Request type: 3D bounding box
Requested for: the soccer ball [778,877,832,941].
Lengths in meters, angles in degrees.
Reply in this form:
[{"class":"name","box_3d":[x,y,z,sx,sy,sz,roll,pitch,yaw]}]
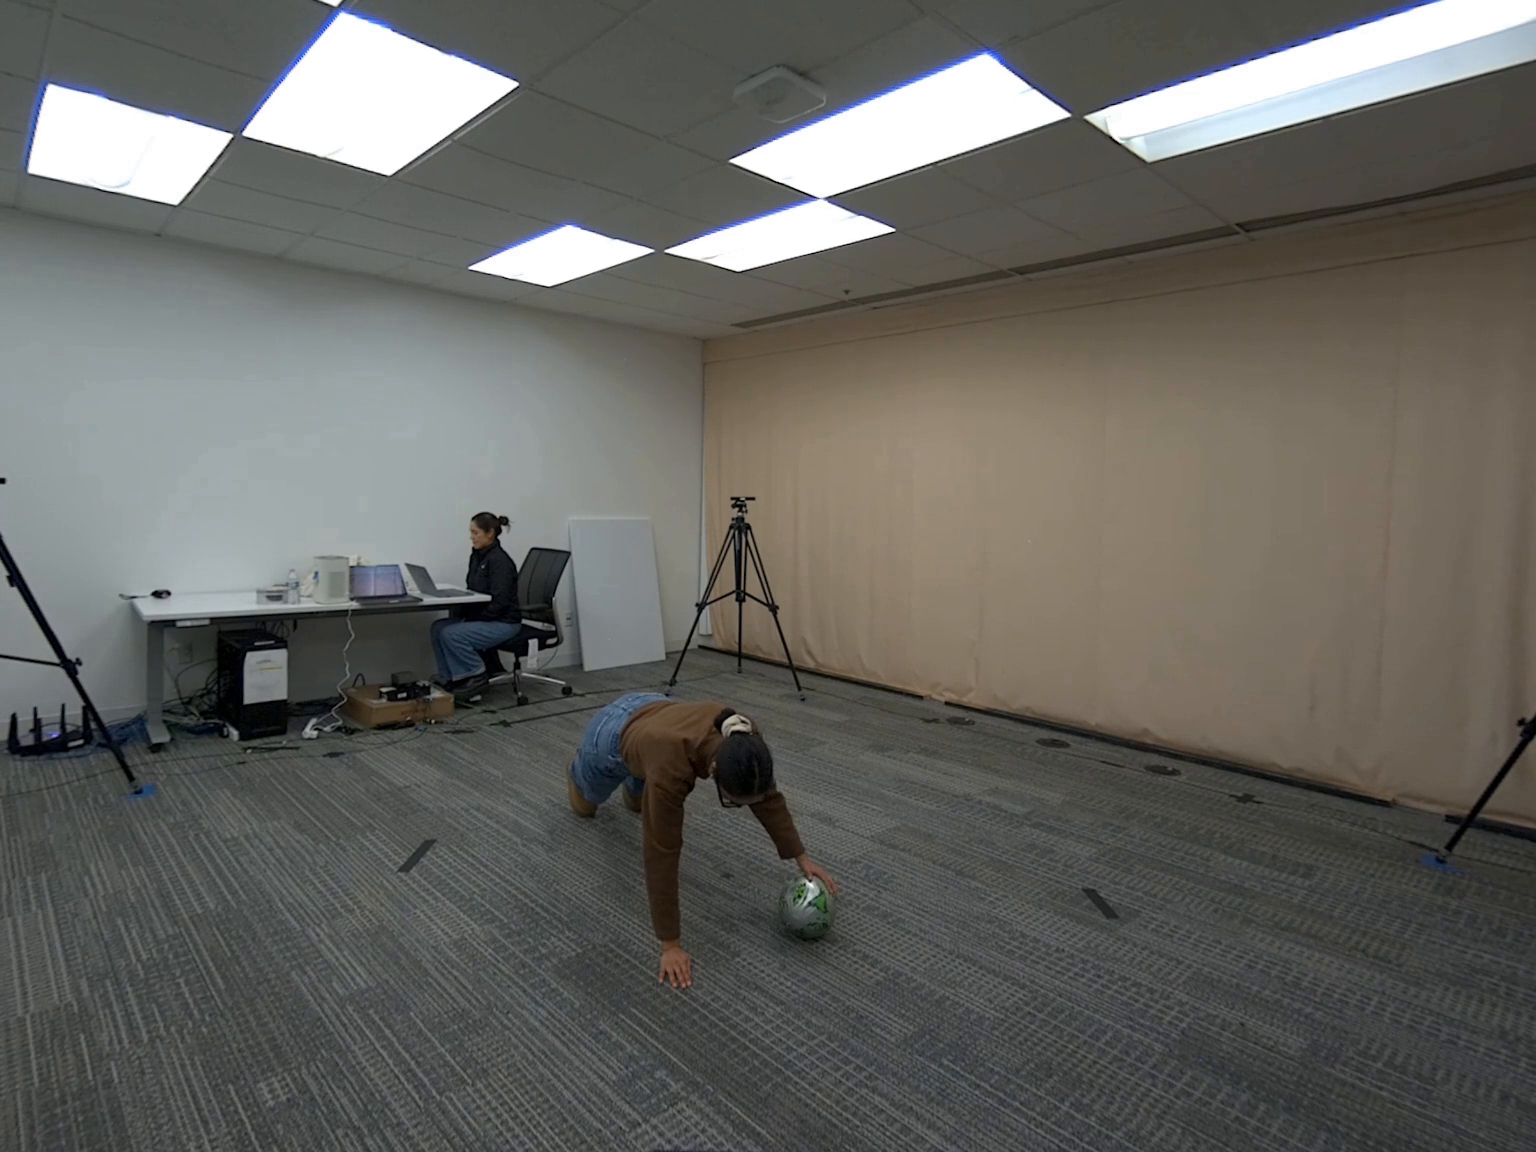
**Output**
[{"class":"soccer ball","box_3d":[0.112,1.060,2.687,0.187,0.187,0.188,1,4,-1]}]
